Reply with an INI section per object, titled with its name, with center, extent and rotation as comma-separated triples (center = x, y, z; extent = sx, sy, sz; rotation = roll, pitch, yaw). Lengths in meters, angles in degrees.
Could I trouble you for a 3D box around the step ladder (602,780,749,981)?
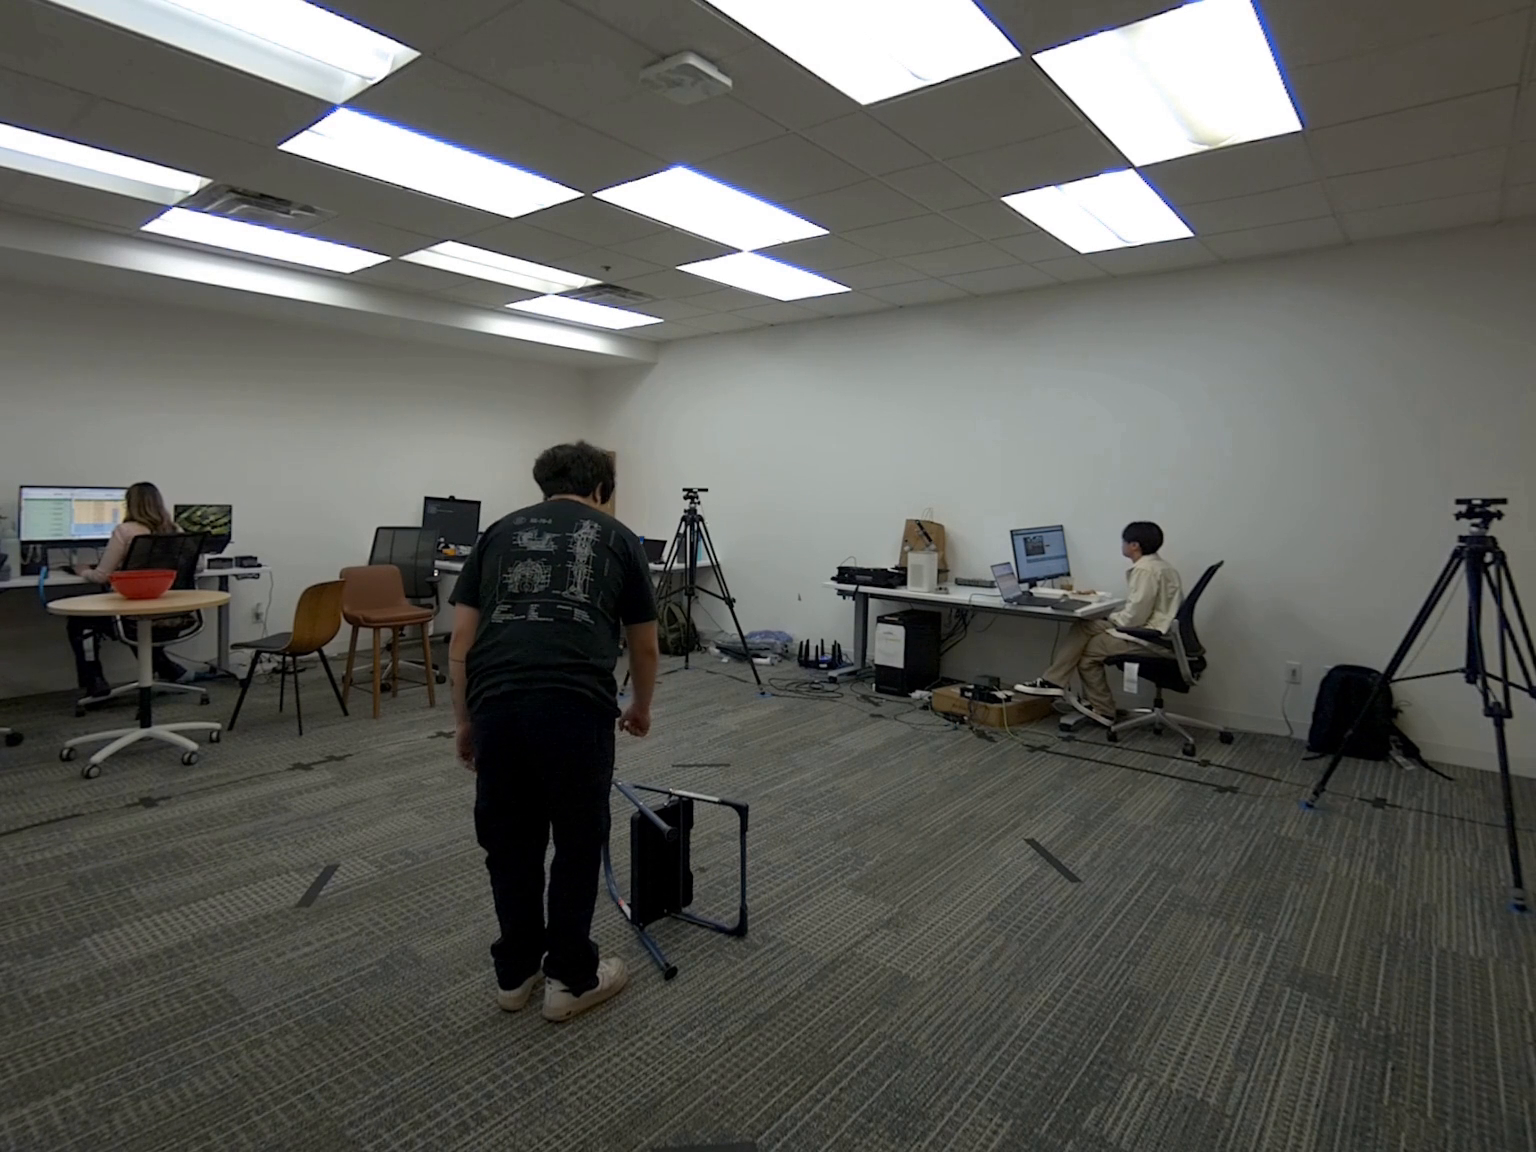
[step ladder]
center = -0.400, 0.891, 2.716
extent = 0.627, 0.430, 0.338
rotation = 4, 4, 43
